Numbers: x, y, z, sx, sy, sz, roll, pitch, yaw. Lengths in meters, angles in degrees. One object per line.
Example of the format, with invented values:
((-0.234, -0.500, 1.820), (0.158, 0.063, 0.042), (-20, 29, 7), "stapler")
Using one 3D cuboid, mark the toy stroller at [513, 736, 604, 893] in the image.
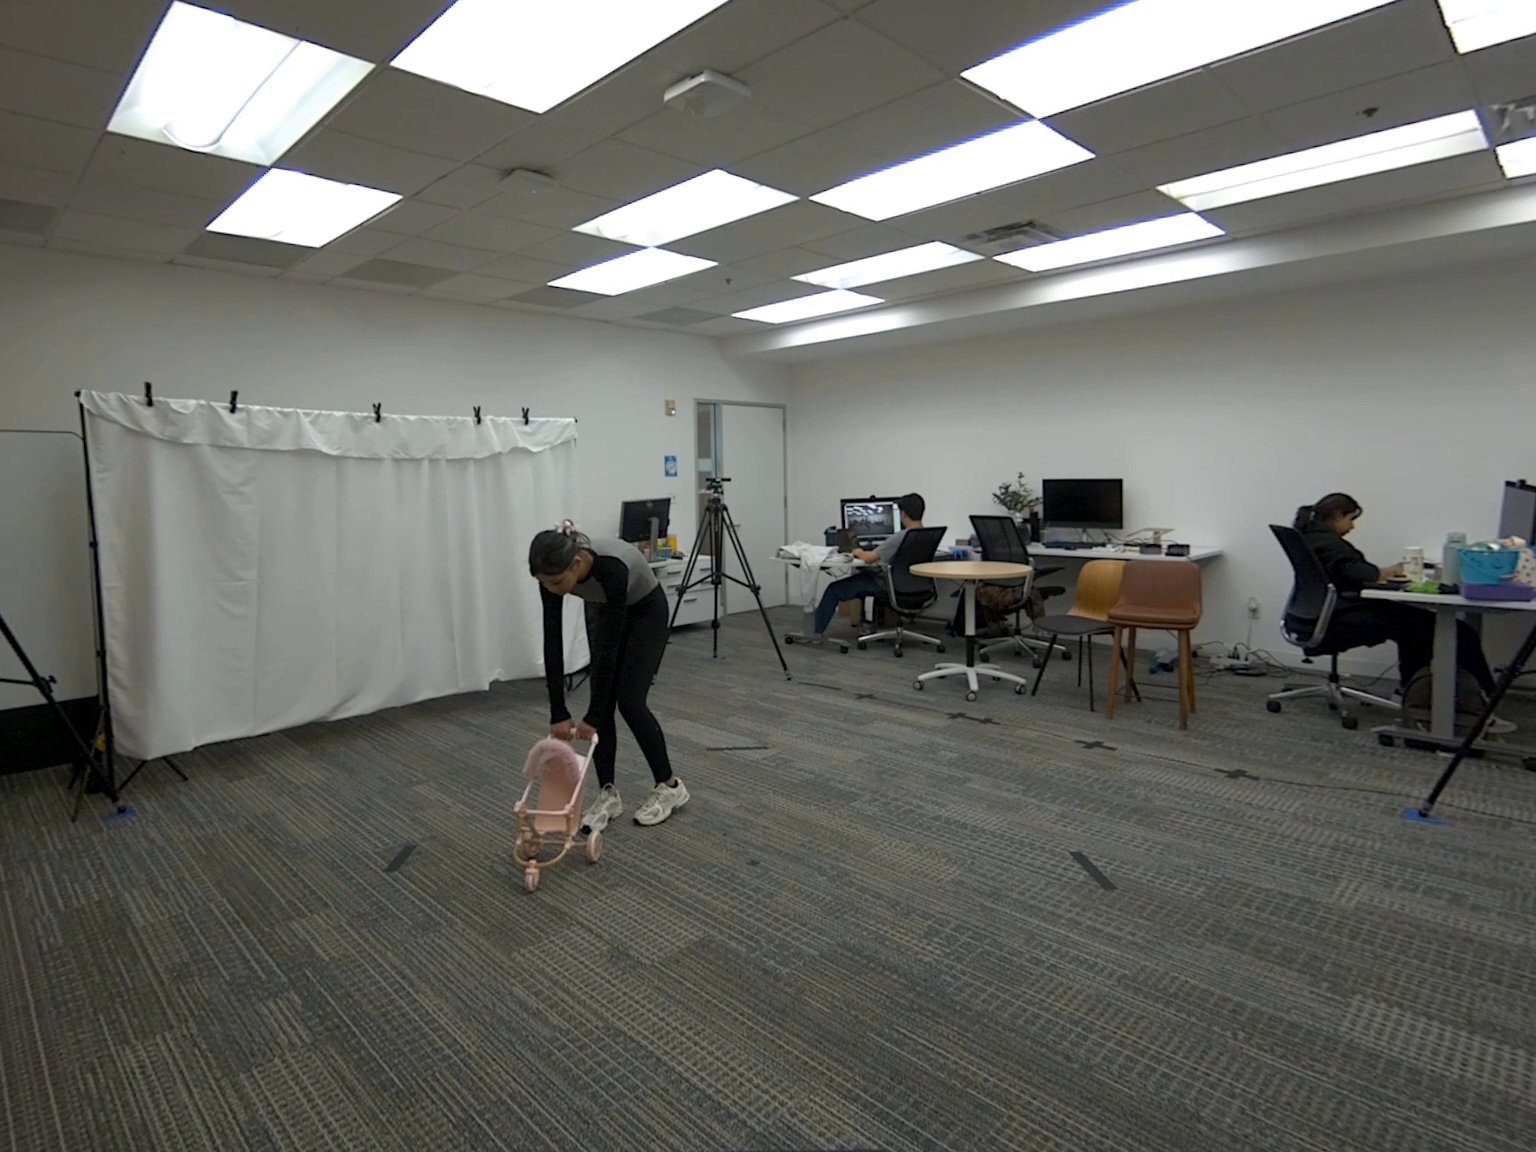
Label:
((-0.779, 0.832, 3.094), (0.286, 0.539, 0.333), (0, -9, 16), "toy stroller")
